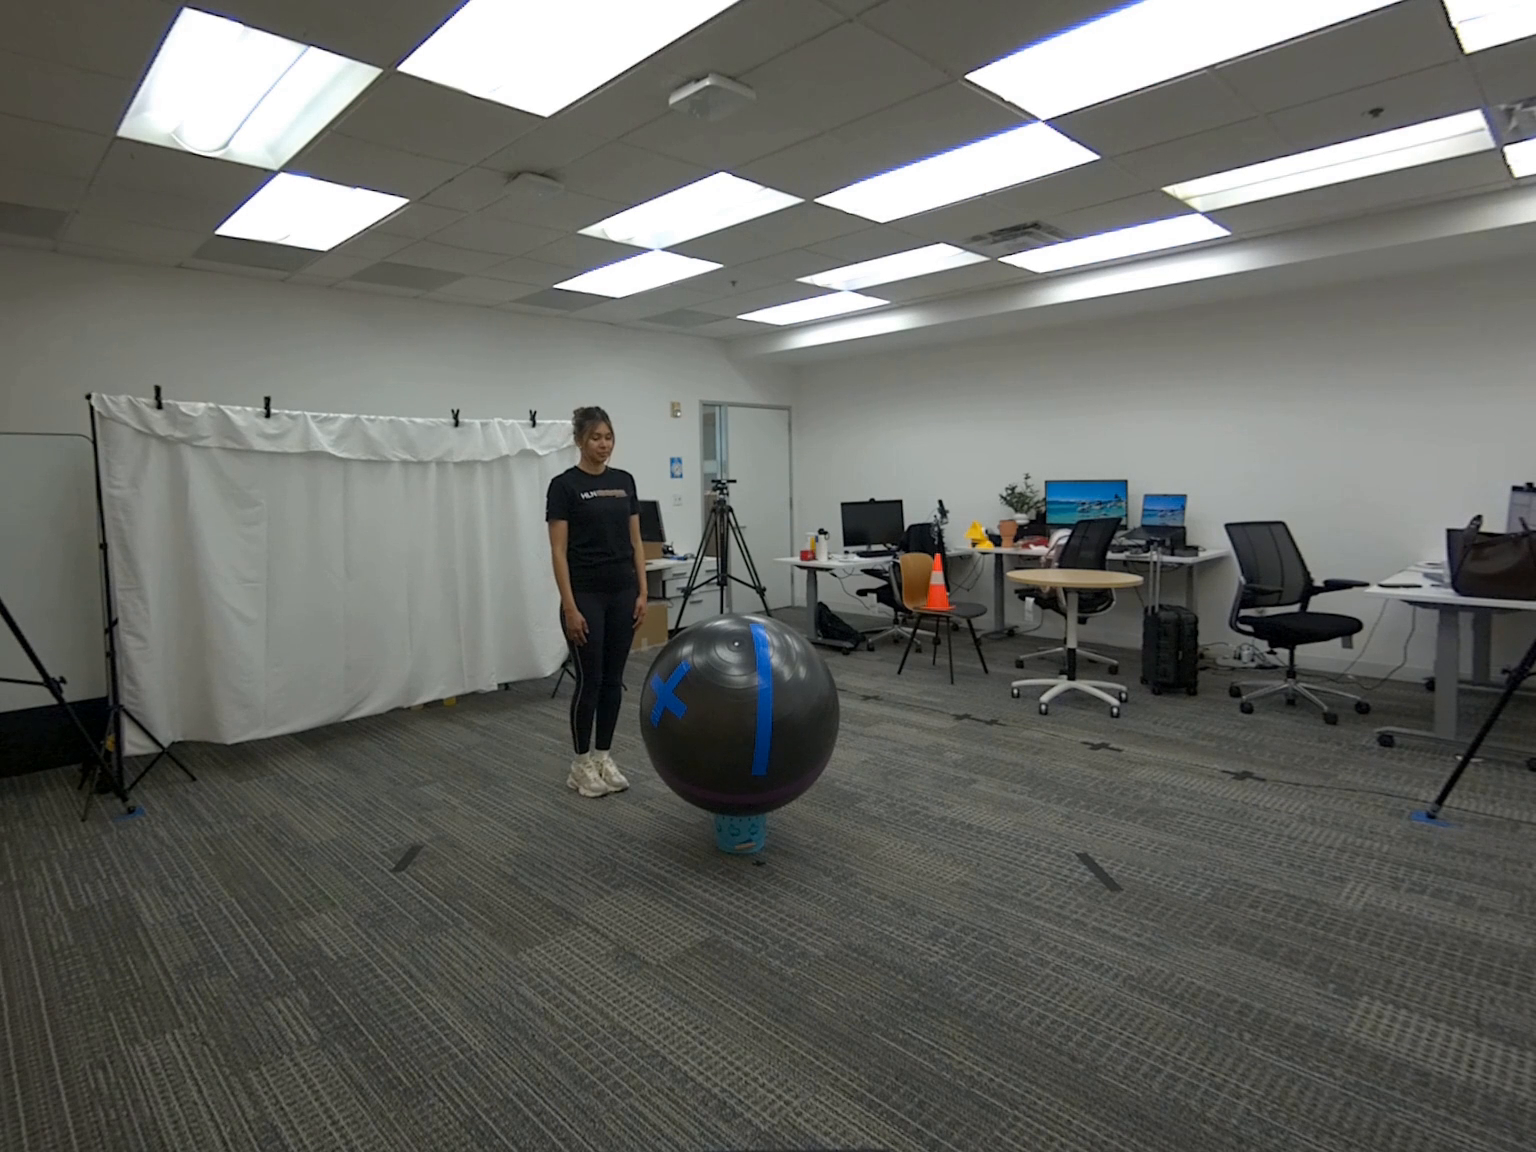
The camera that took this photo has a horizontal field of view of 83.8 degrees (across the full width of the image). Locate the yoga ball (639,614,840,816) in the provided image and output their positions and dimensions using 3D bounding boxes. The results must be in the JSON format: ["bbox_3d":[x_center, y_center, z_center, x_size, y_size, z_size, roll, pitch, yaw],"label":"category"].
[{"bbox_3d":[-0.111,0.520,3.250,0.757,0.755,0.762,-1,5,-2],"label":"yoga ball"}]
